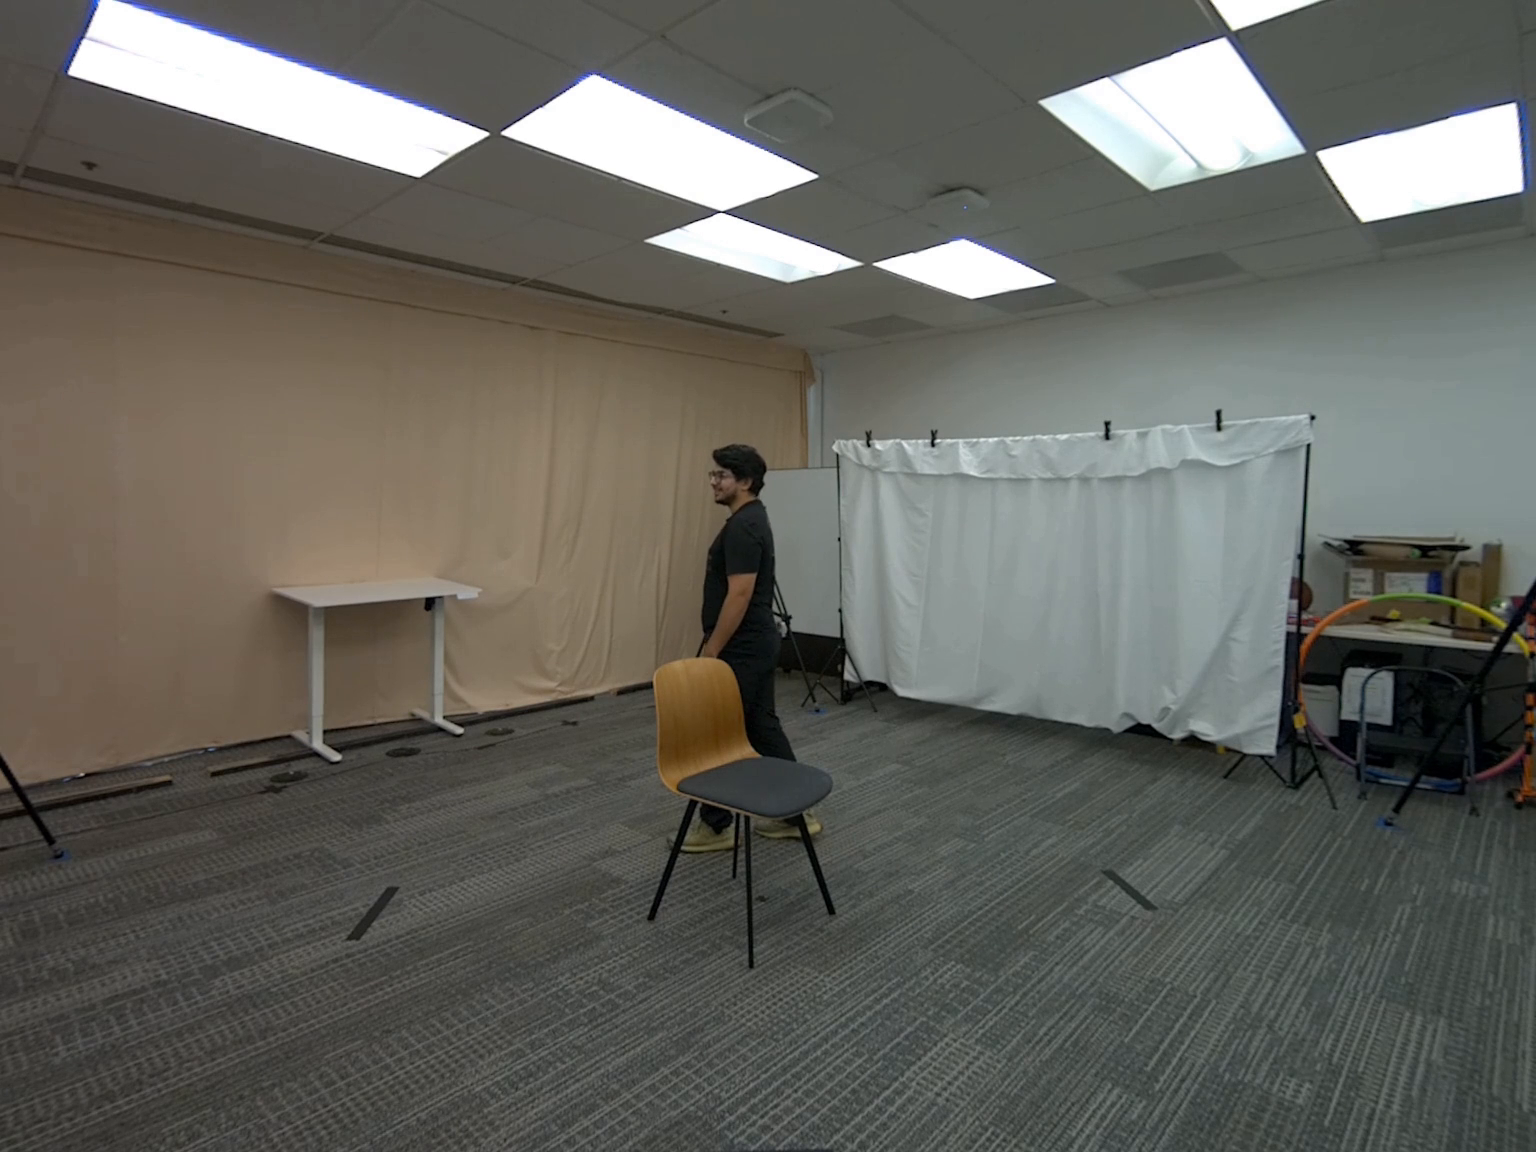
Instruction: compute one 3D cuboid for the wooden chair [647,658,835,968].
[{"bbox_3d":[-0.081,0.731,2.811,0.539,0.877,0.464,-3,1,40],"label":"wooden chair"}]
